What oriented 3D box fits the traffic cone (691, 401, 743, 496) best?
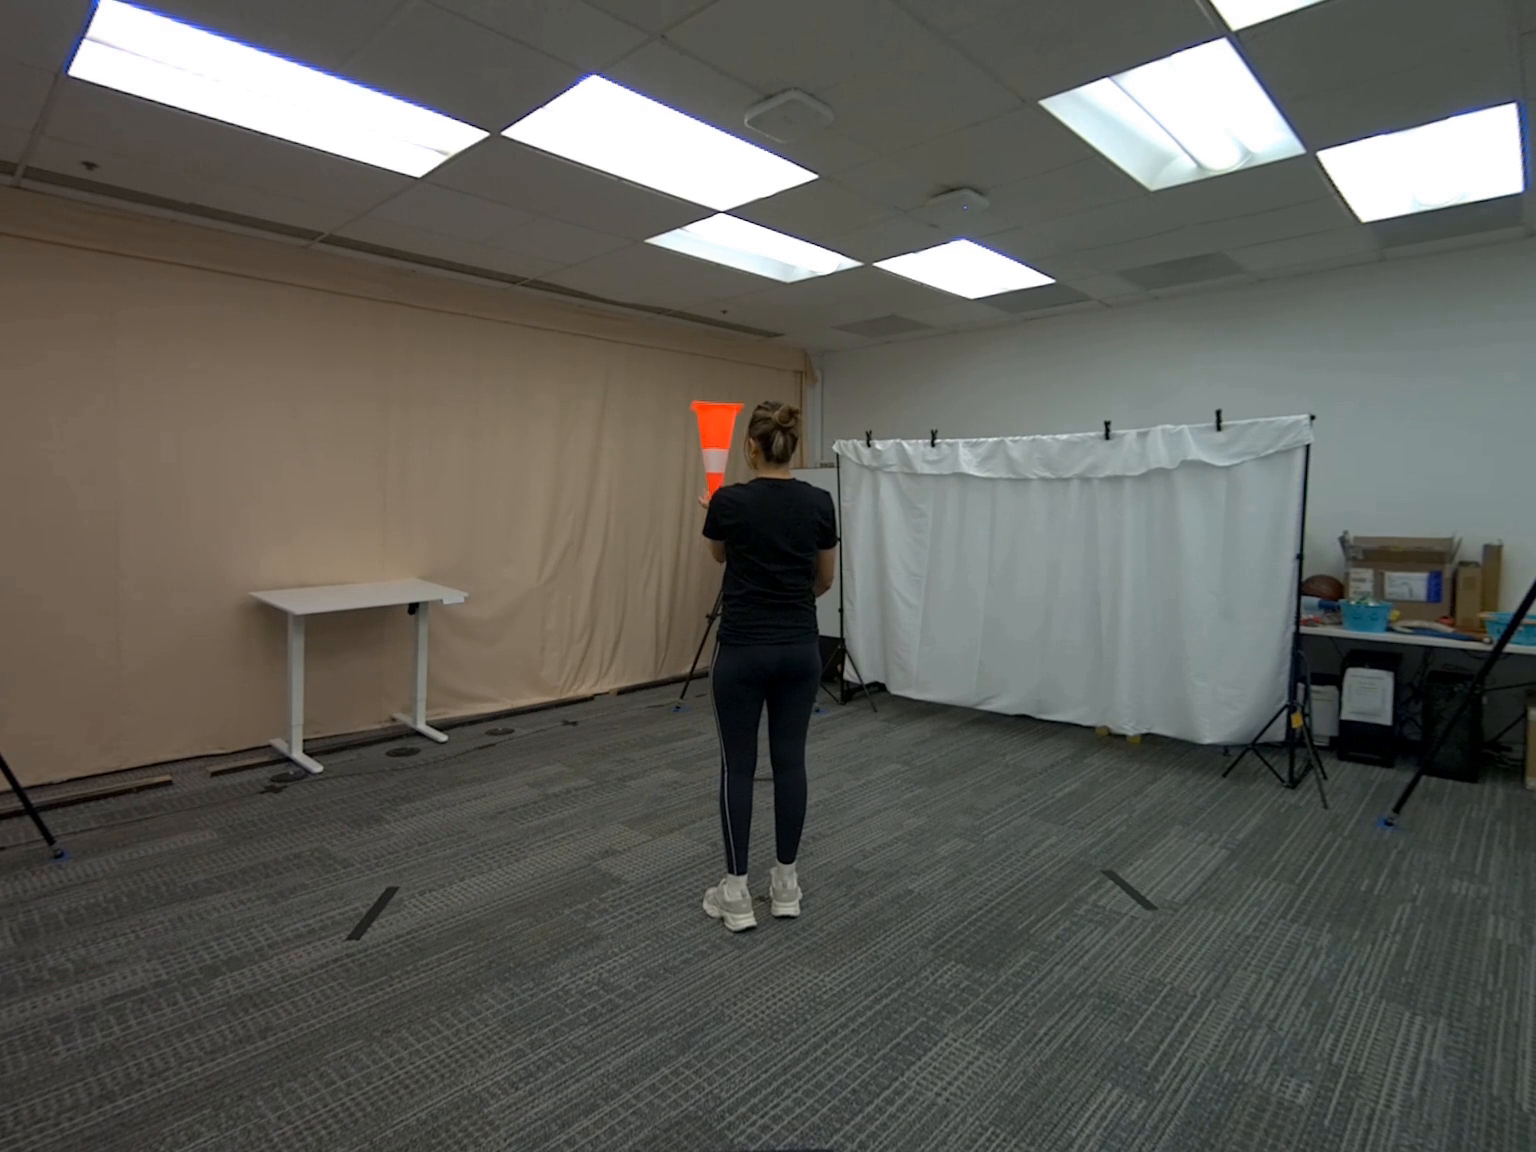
[{"bbox_3d":[-0.204,-0.468,3.284,0.201,0.383,0.207,2,2,-10],"label":"traffic cone"}]
